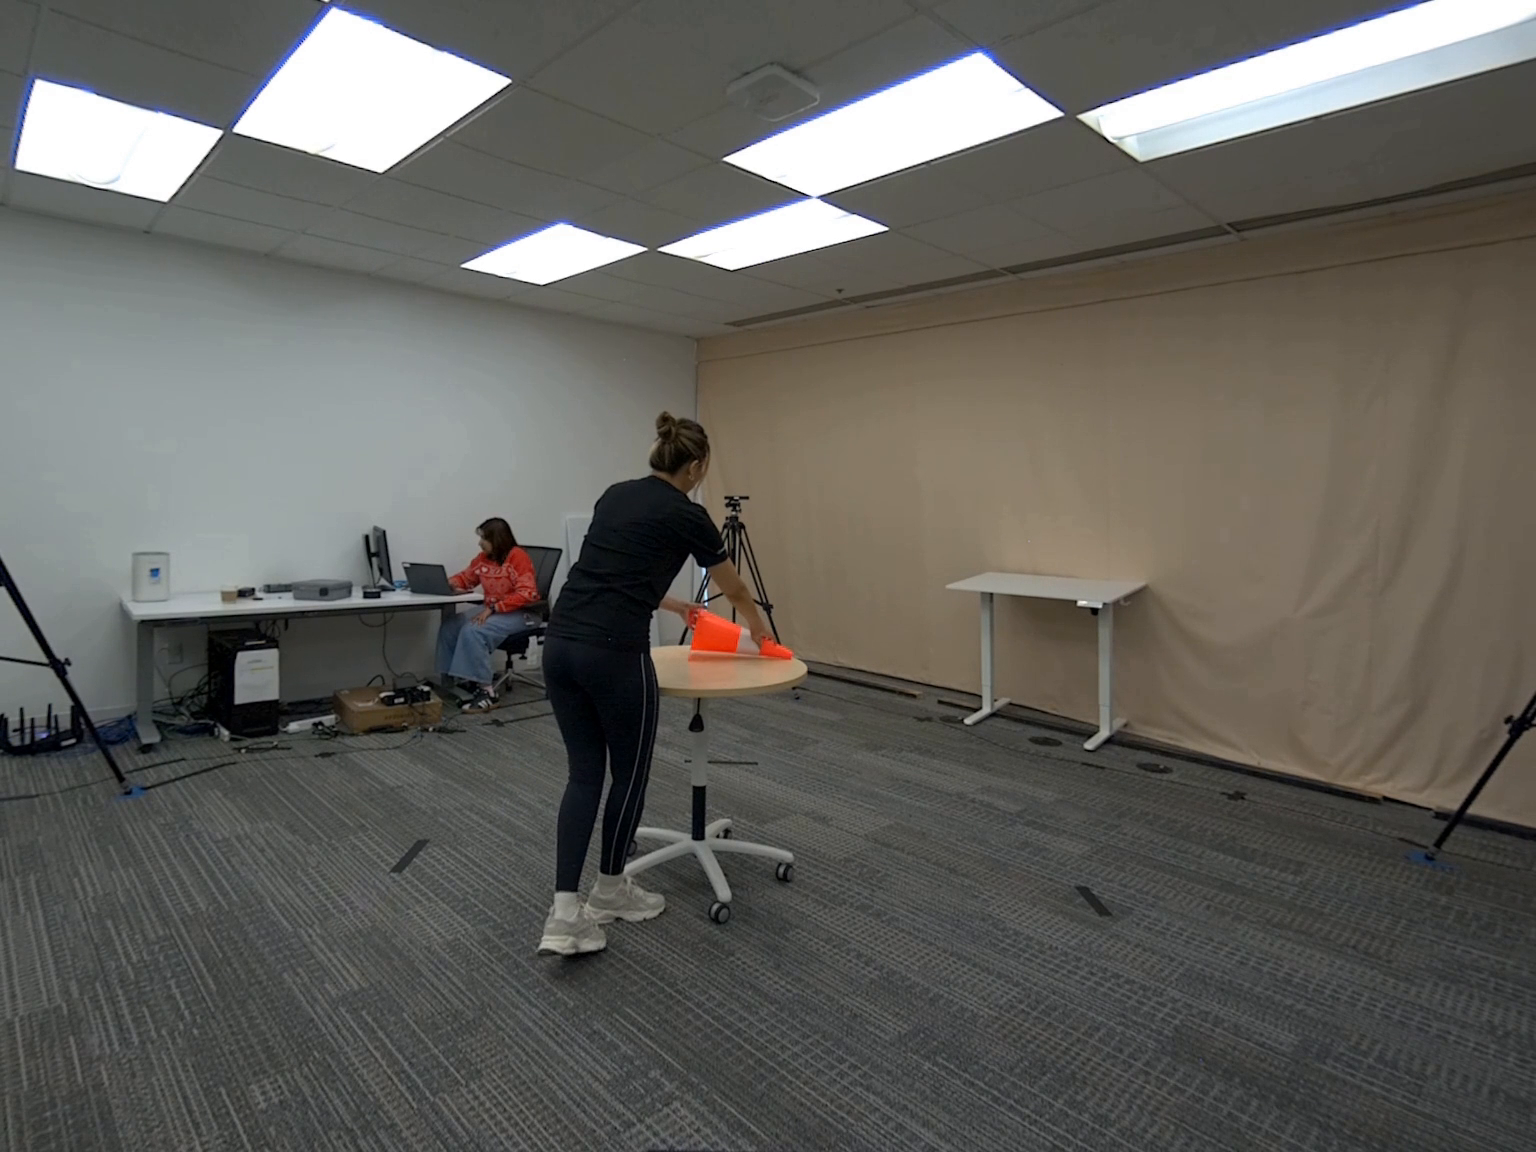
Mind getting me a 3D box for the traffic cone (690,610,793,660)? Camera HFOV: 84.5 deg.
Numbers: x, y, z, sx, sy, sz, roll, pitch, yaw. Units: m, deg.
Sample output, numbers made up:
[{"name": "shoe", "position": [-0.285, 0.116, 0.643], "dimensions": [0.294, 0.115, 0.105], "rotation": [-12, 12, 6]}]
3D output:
[{"name": "traffic cone", "position": [-0.102, 0.247, 3.167], "dimensions": [0.385, 0.202, 0.206], "rotation": [13, 12, 2]}]
